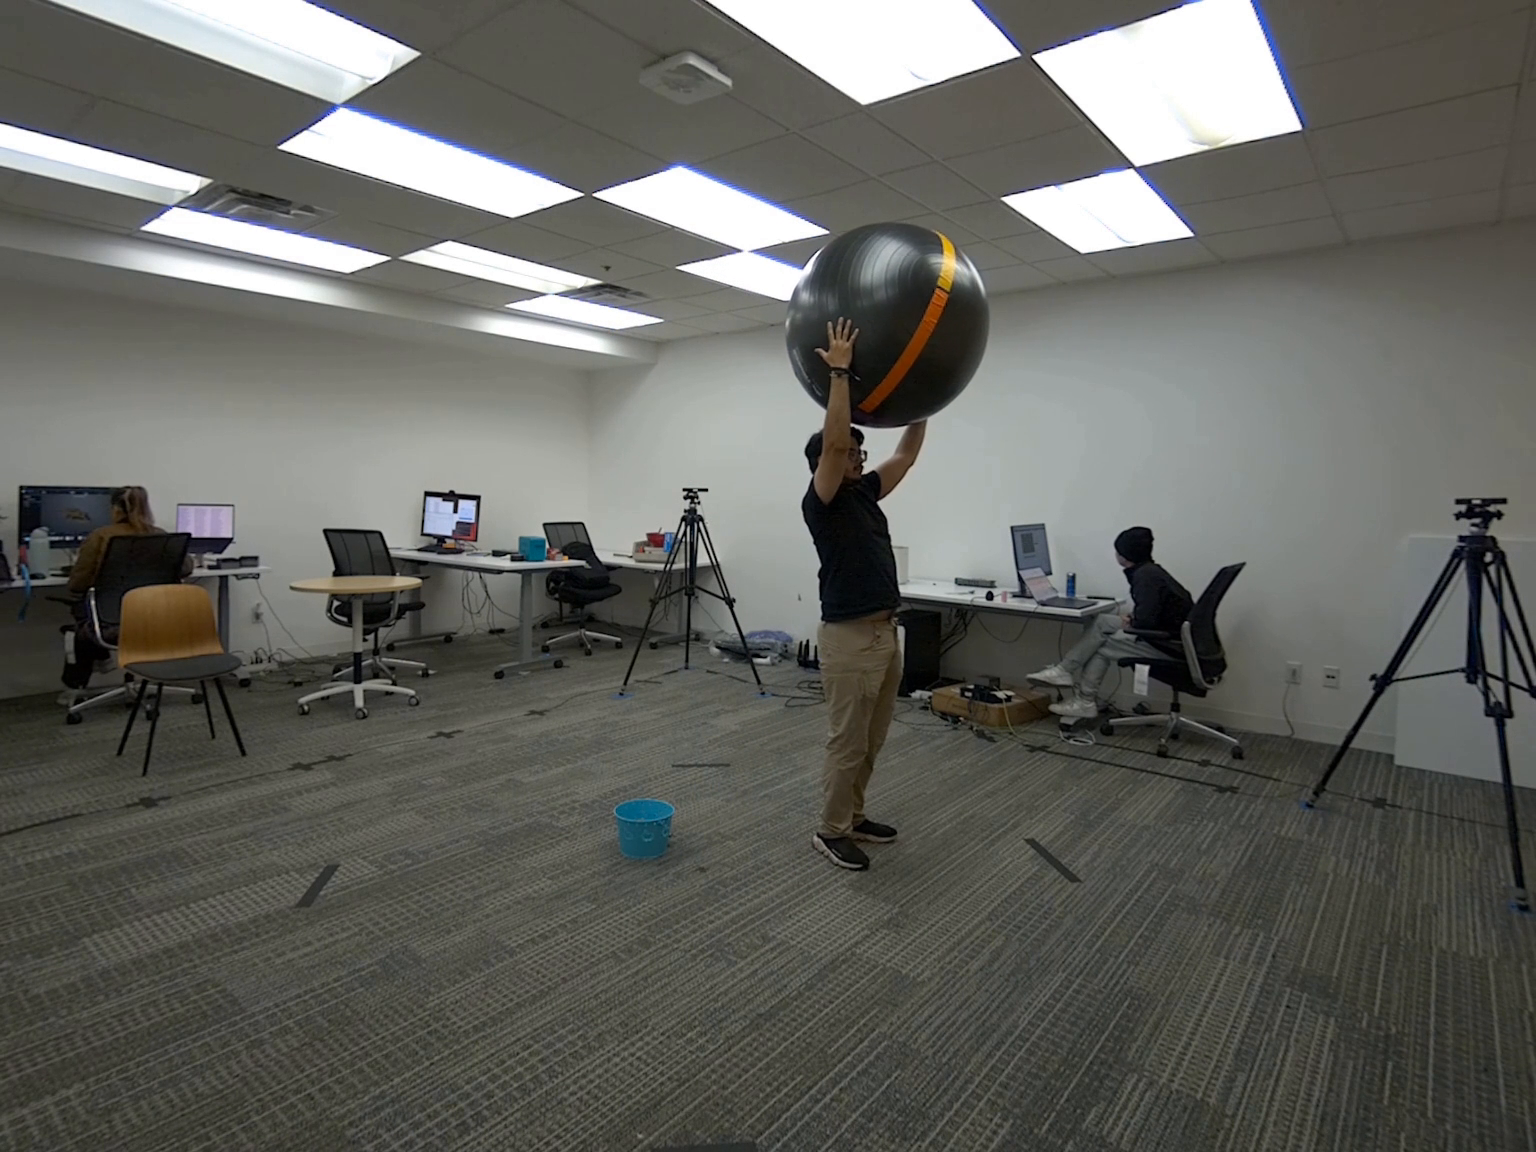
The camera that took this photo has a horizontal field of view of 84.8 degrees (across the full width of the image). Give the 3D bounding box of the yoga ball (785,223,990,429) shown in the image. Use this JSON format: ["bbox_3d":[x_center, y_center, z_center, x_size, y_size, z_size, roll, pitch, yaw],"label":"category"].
[{"bbox_3d":[0.439,-0.945,3.231,0.757,0.756,0.761,1,4,-2],"label":"yoga ball"}]
